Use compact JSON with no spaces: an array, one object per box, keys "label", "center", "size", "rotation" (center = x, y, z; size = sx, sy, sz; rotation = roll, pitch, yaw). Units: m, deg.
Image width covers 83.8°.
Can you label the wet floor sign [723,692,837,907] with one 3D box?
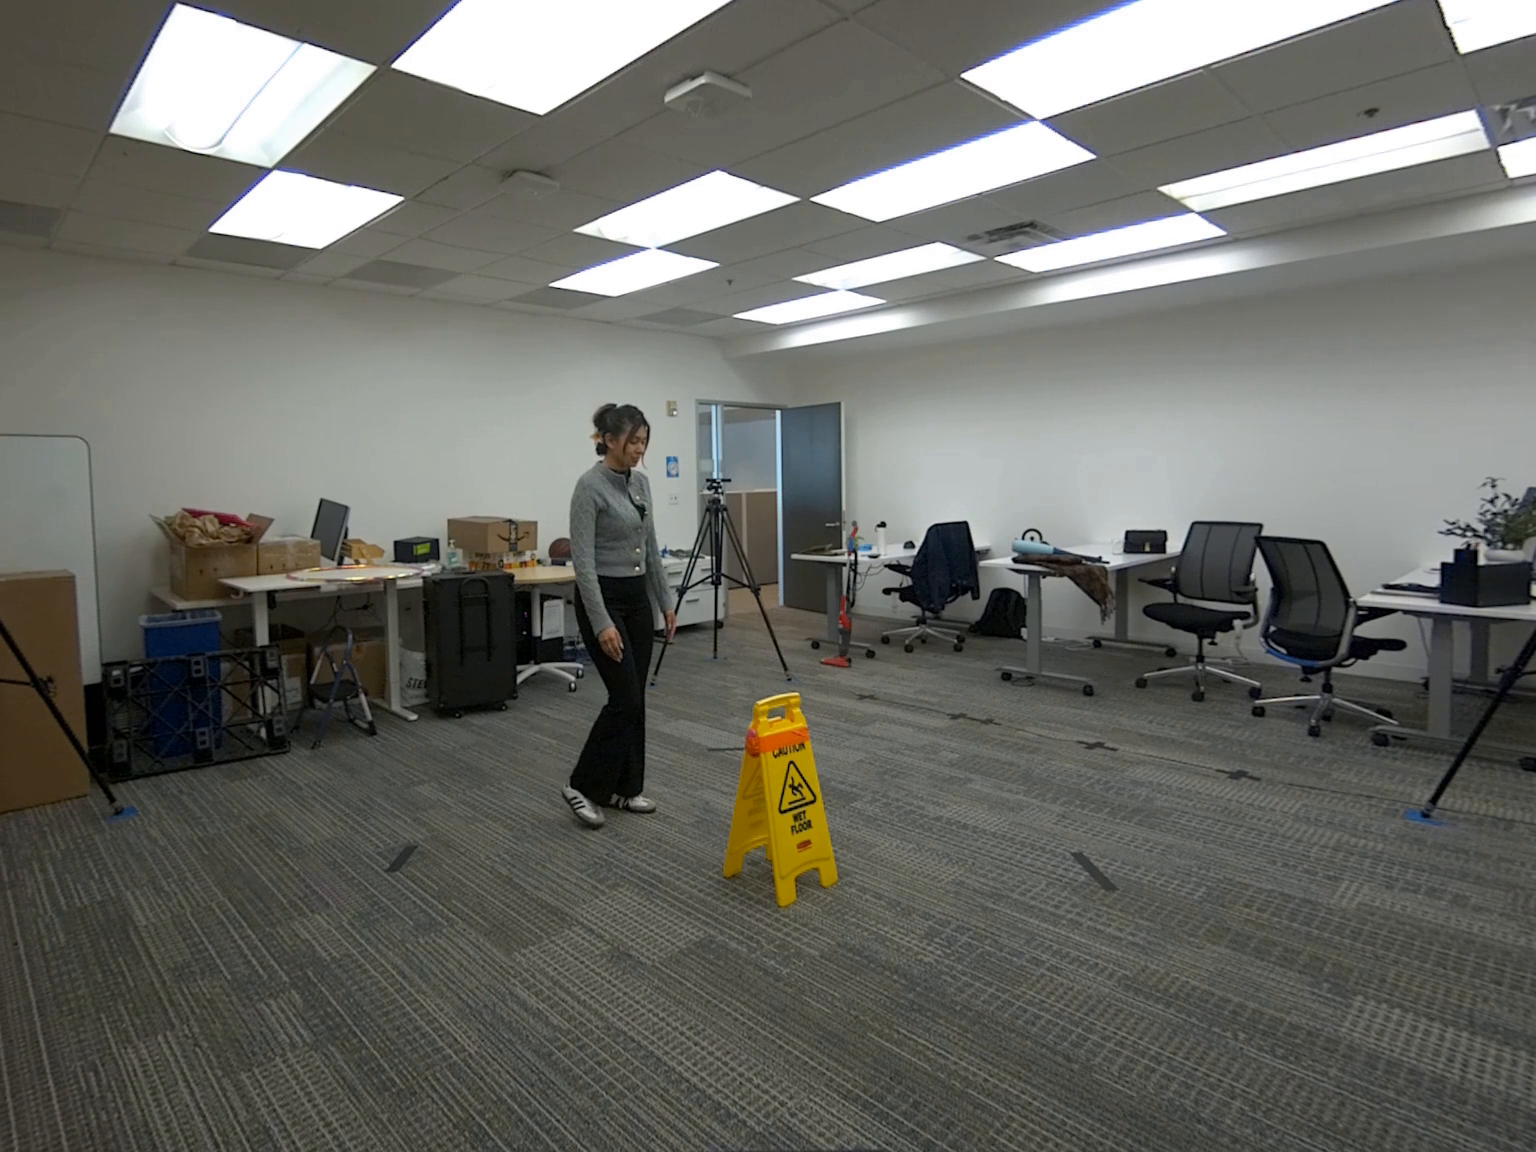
[{"label":"wet floor sign","center":[0.041,0.736,2.959],"size":[0.275,0.643,0.298],"rotation":[-5,6,-41]}]
